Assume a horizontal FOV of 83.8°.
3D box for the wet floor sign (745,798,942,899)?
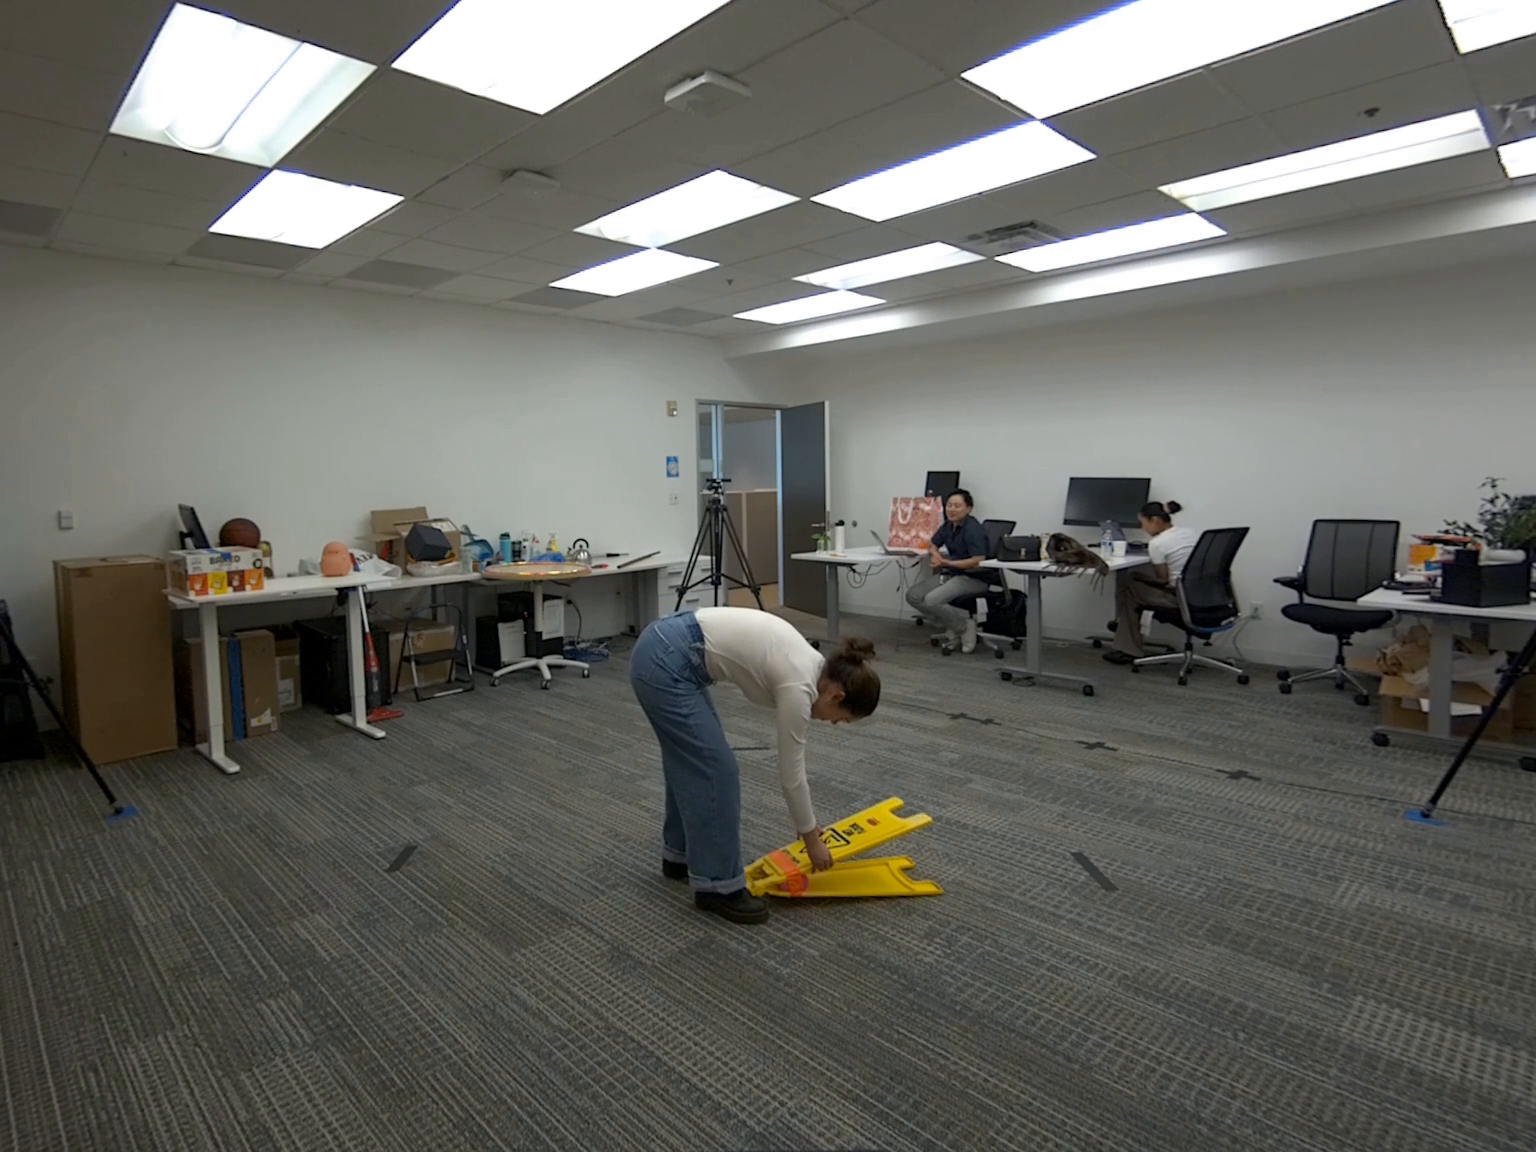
[{"bbox_3d":[0.222,0.972,2.909,0.638,0.290,0.286,-8,1,-15],"label":"wet floor sign"}]
